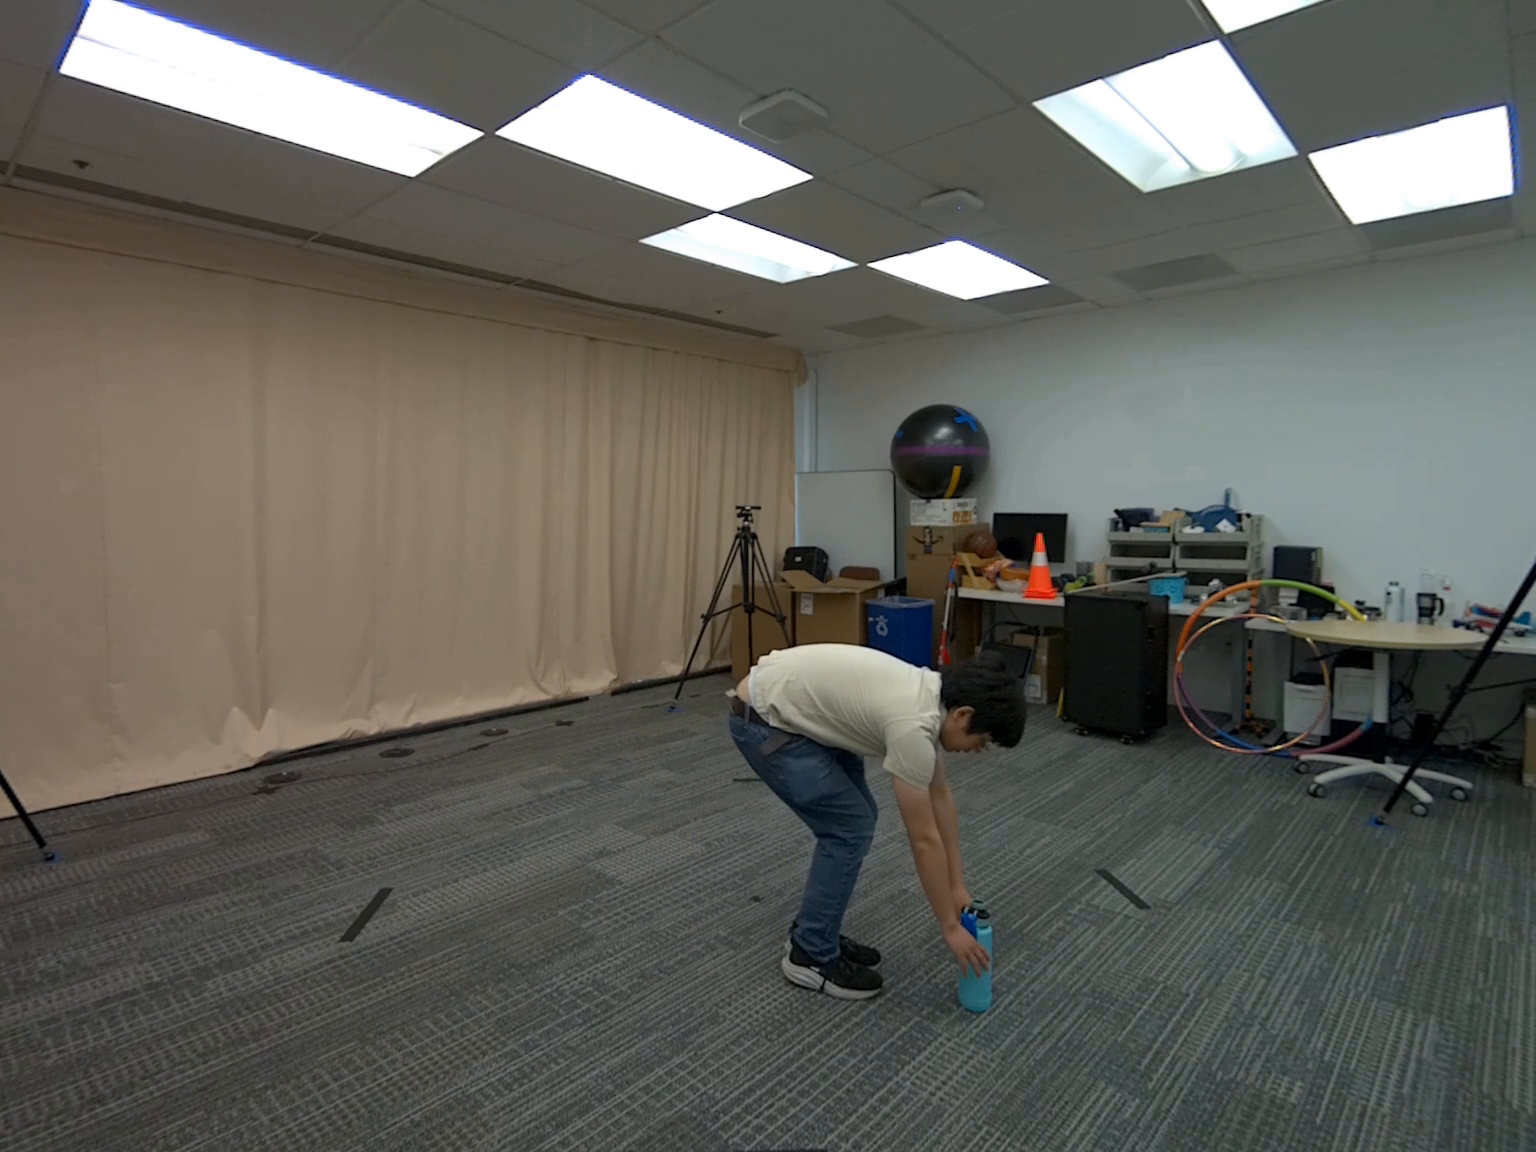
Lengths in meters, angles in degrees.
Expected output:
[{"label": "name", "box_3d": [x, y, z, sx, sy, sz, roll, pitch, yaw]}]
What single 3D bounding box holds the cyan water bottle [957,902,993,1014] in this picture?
[{"label": "cyan water bottle", "box_3d": [0.582, 1.058, 2.343, 0.092, 0.283, 0.092, -2, 4, -2]}]
